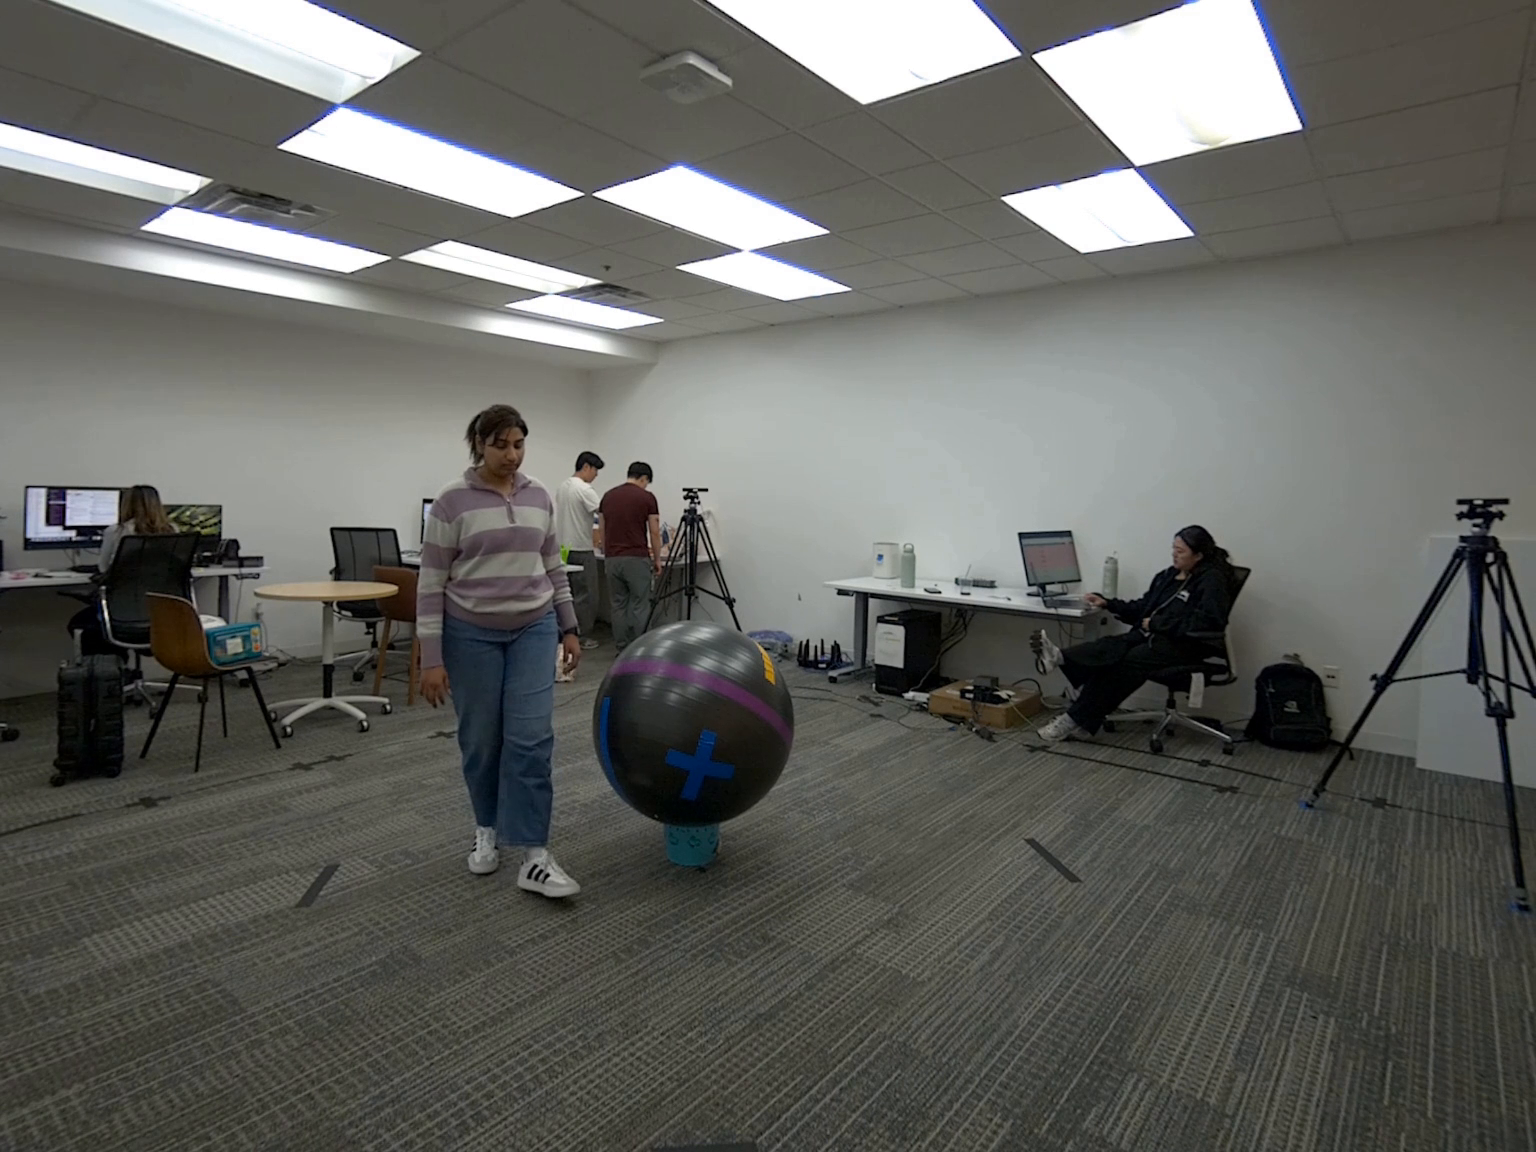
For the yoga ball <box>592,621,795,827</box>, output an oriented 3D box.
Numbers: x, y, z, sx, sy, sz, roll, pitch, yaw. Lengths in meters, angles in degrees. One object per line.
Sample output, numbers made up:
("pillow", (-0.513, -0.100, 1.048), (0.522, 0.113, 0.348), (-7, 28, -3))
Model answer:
("yoga ball", (-0.286, 0.550, 3.208), (0.757, 0.756, 0.762), (1, 4, -2))
